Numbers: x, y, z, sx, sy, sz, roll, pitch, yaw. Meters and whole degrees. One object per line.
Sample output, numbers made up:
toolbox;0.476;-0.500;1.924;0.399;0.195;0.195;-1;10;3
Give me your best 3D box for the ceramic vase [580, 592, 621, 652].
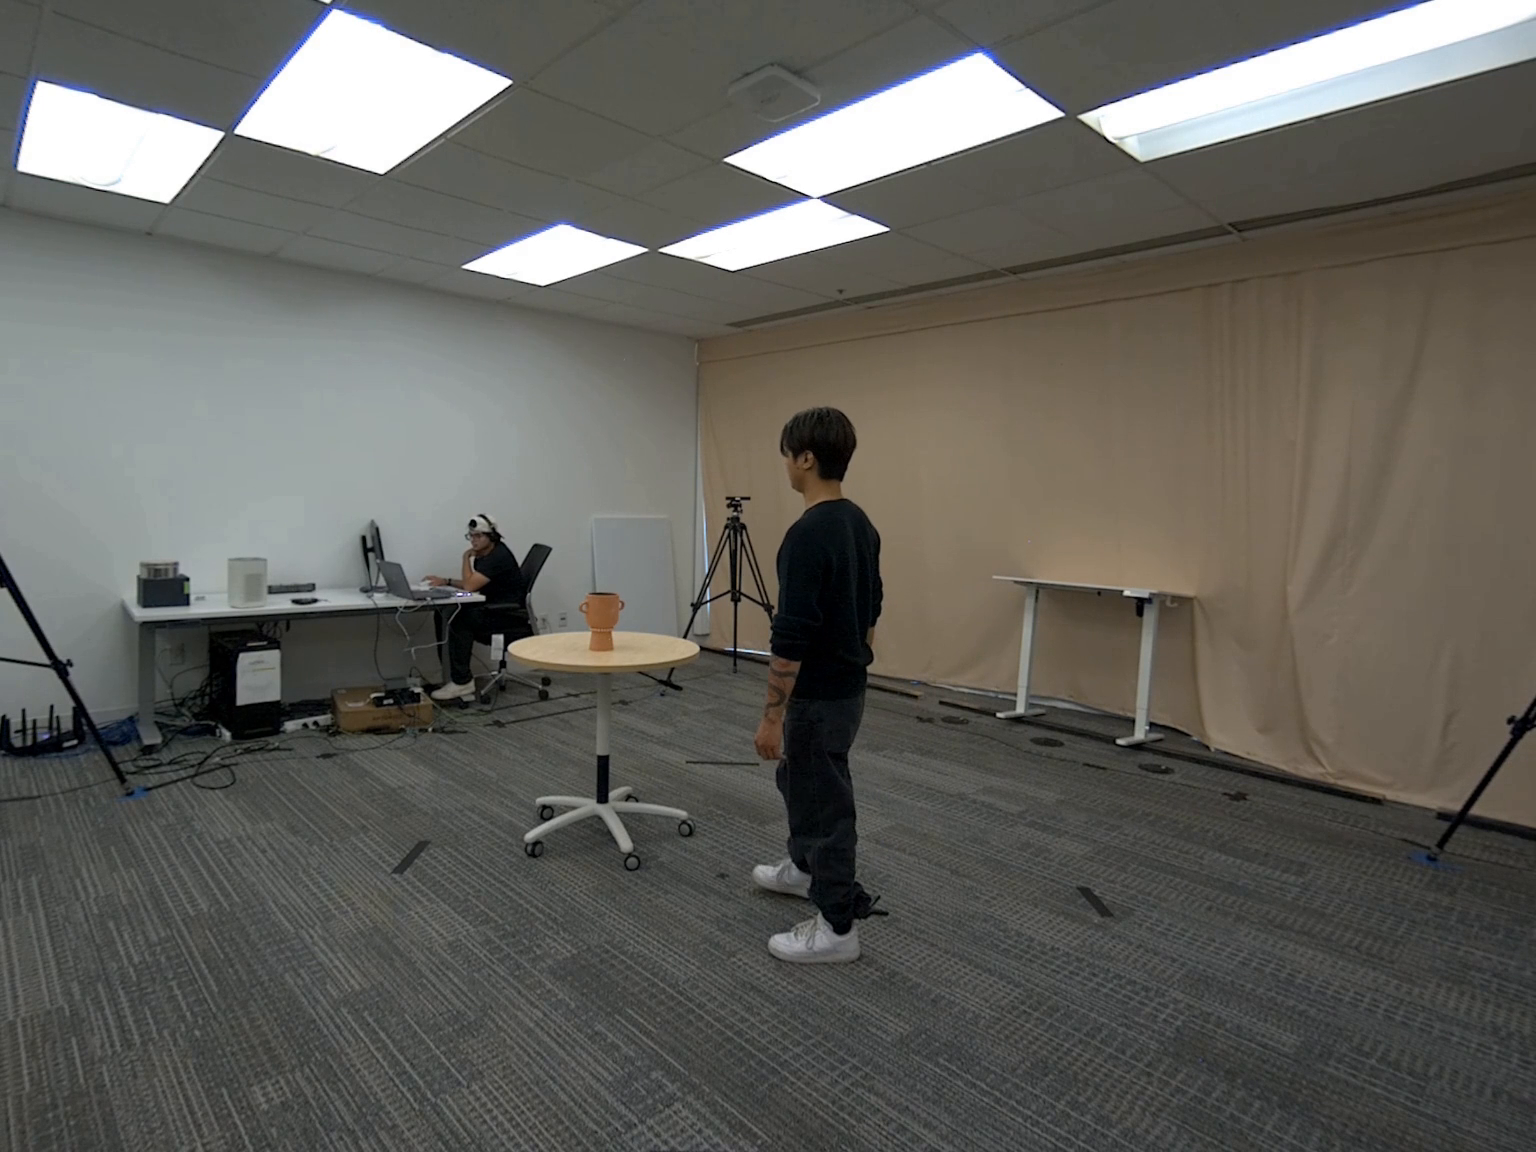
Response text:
ceramic vase;-0.670;0.181;3.346;0.159;0.219;0.135;2;4;2
